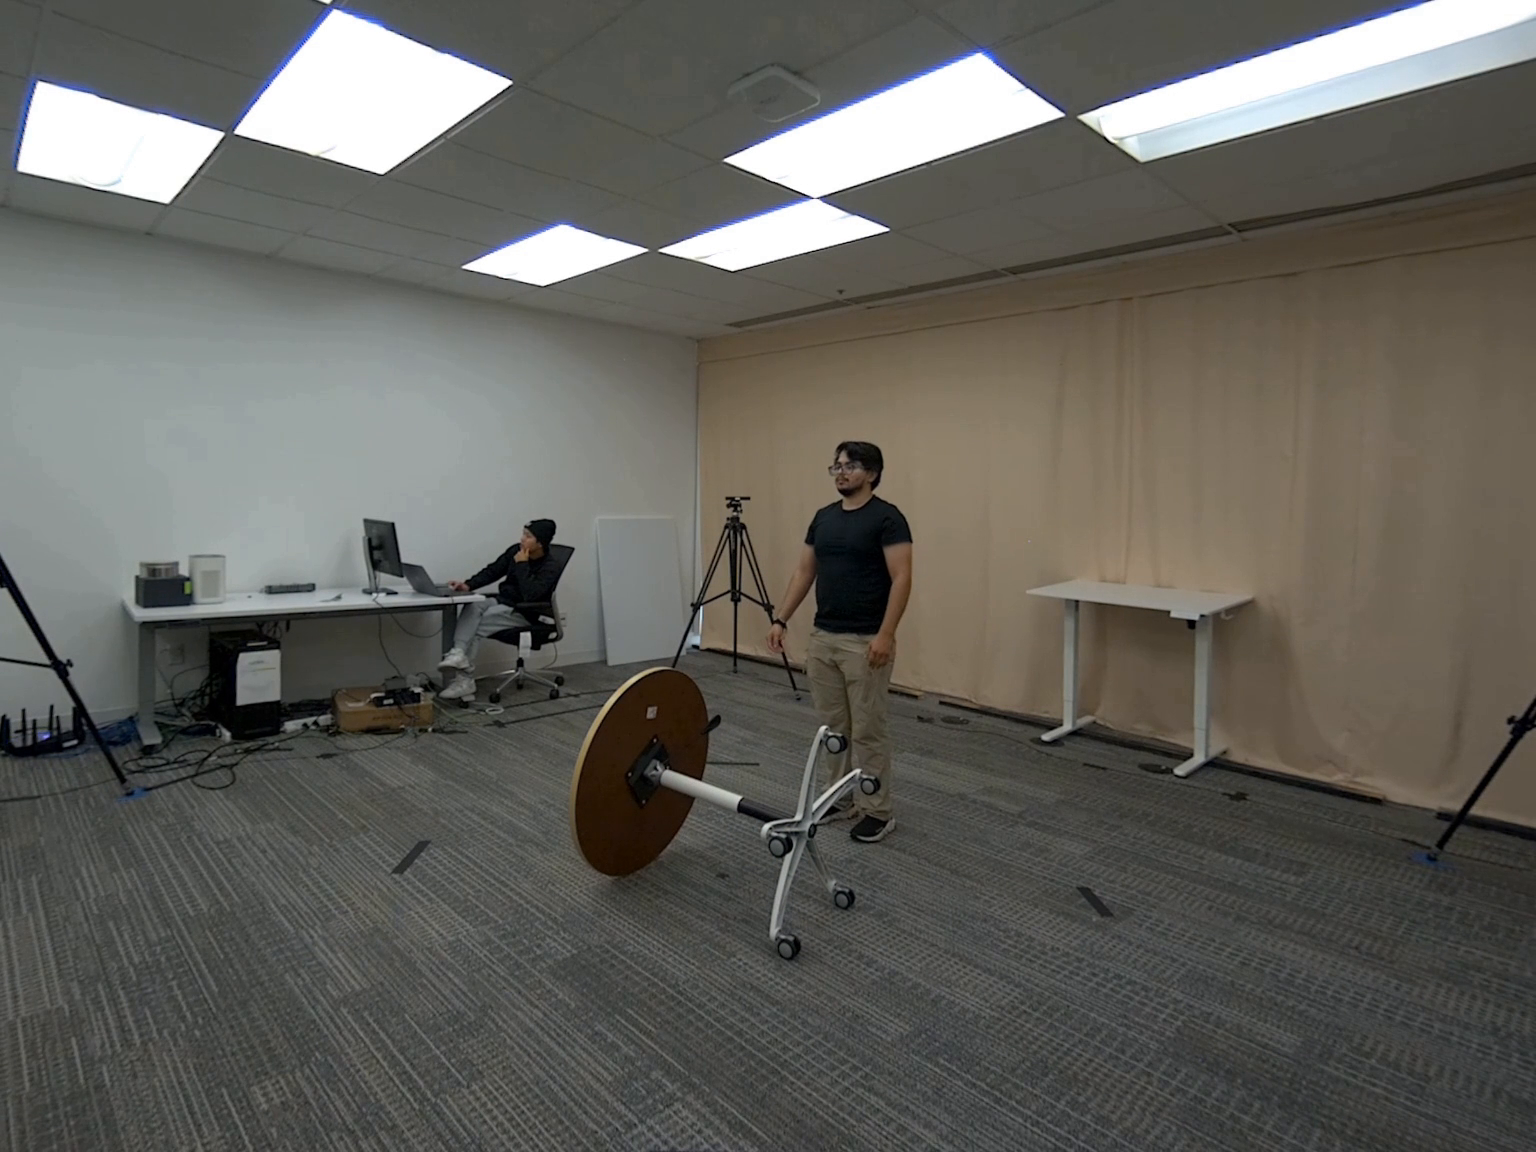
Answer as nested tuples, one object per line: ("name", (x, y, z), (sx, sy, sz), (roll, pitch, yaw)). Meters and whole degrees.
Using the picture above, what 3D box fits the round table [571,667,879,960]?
("round table", (-0.132, 0.769, 2.893), (0.806, 0.782, 0.769), (9, 8, 32))
